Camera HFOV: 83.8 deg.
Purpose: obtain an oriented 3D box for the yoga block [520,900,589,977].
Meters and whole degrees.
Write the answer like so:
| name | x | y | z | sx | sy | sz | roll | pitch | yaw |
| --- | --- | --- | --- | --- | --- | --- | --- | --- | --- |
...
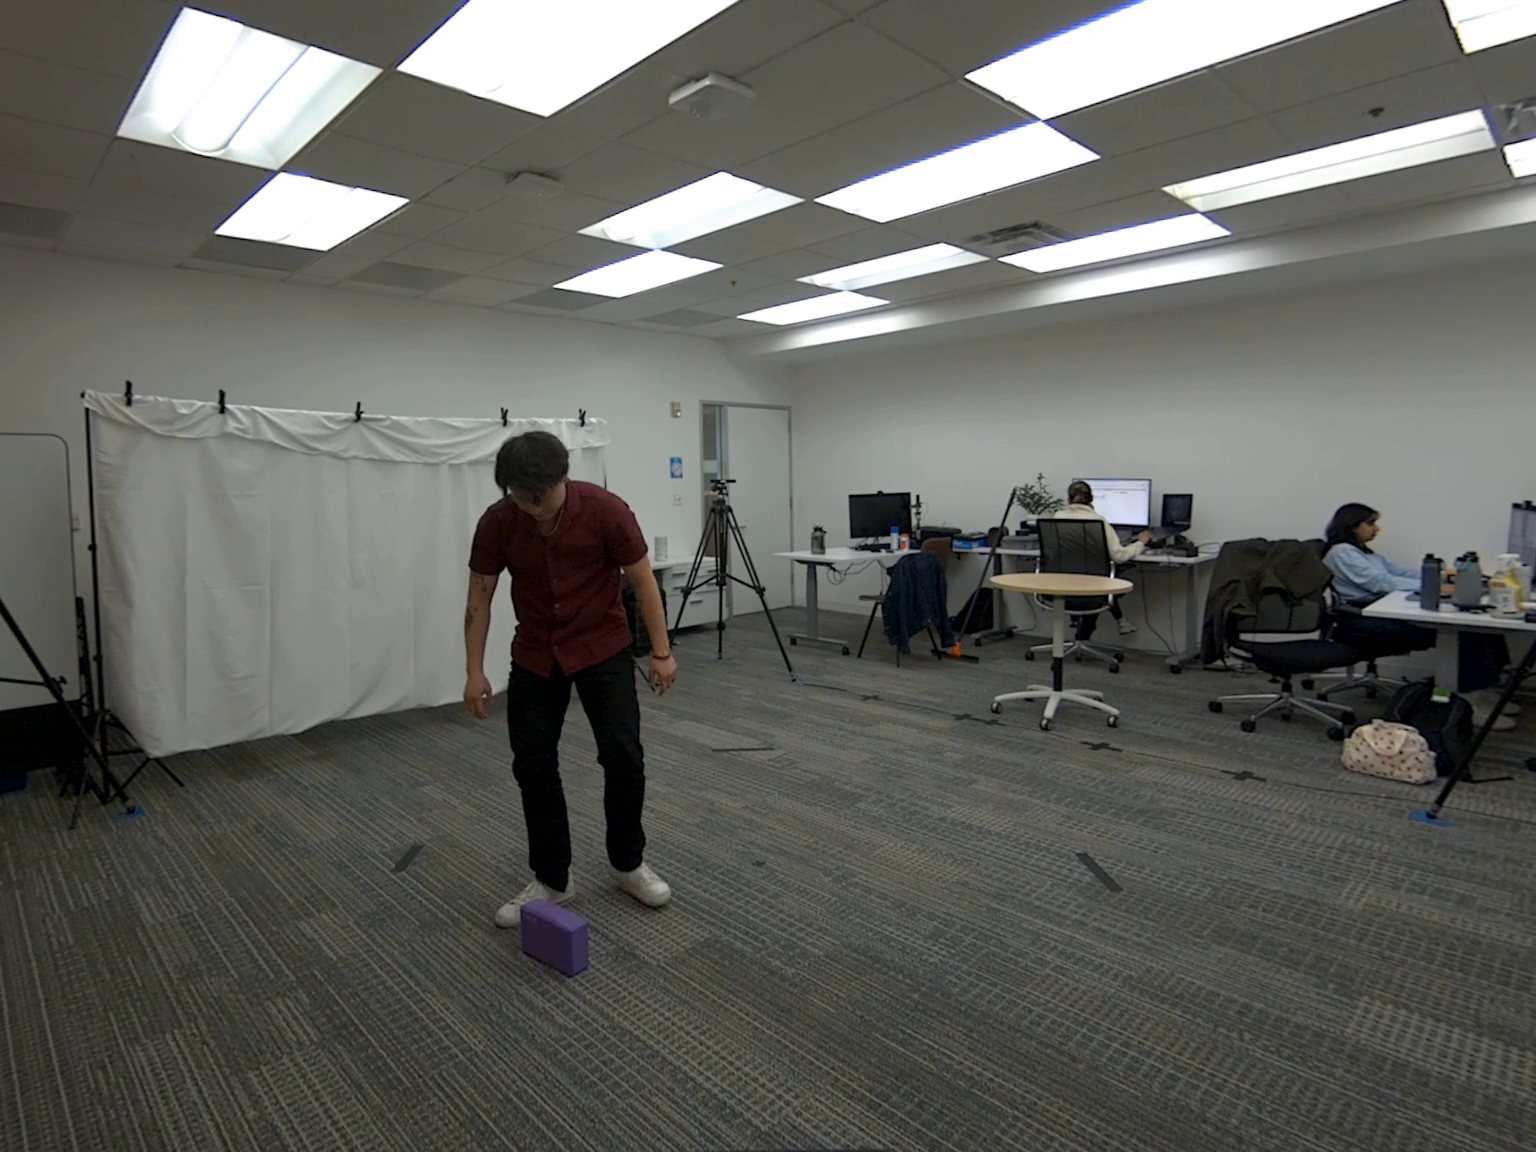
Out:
| name | x | y | z | sx | sy | sz | roll | pitch | yaw |
| --- | --- | --- | --- | --- | --- | --- | --- | --- | --- |
| yoga block | -0.631 | 1.060 | 2.508 | 0.236 | 0.148 | 0.074 | 4 | 9 | 39 |
